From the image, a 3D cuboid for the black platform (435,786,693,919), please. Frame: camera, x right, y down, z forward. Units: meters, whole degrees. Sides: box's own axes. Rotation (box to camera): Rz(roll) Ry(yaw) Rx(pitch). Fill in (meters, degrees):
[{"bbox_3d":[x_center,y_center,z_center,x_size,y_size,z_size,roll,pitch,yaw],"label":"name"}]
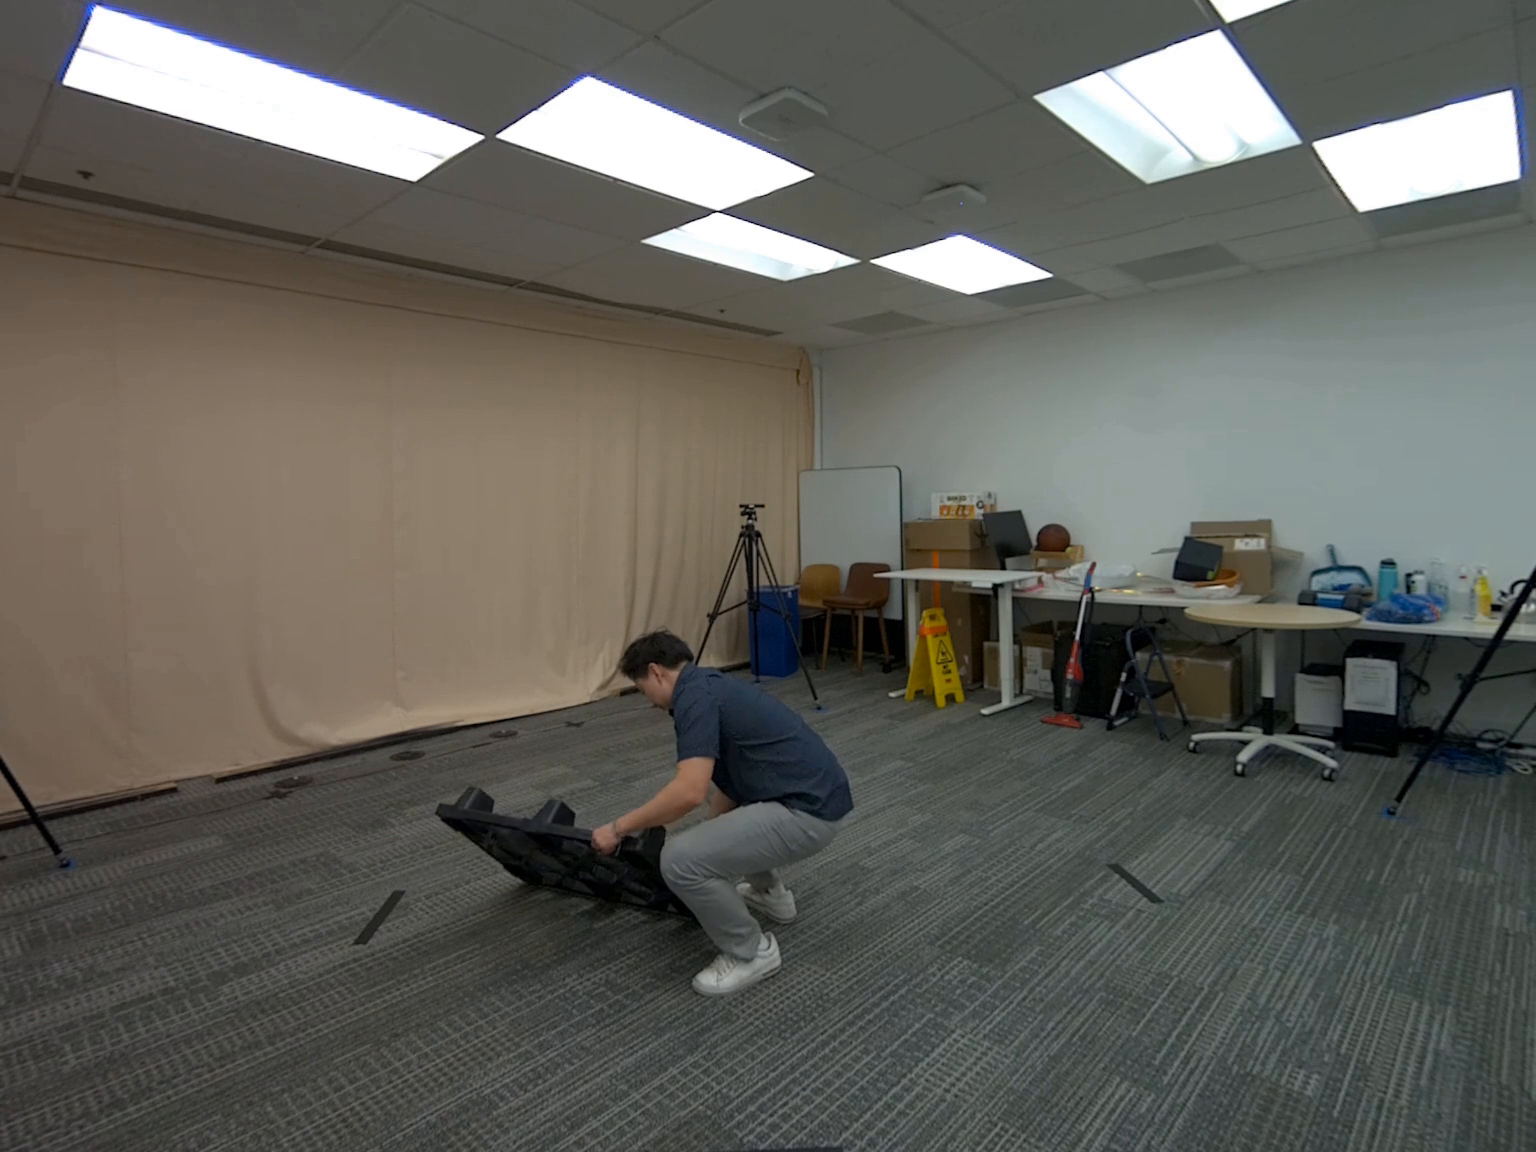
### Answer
[{"bbox_3d":[-0.634,0.920,2.812,0.825,0.144,0.586,1,-40,24],"label":"black platform"}]
